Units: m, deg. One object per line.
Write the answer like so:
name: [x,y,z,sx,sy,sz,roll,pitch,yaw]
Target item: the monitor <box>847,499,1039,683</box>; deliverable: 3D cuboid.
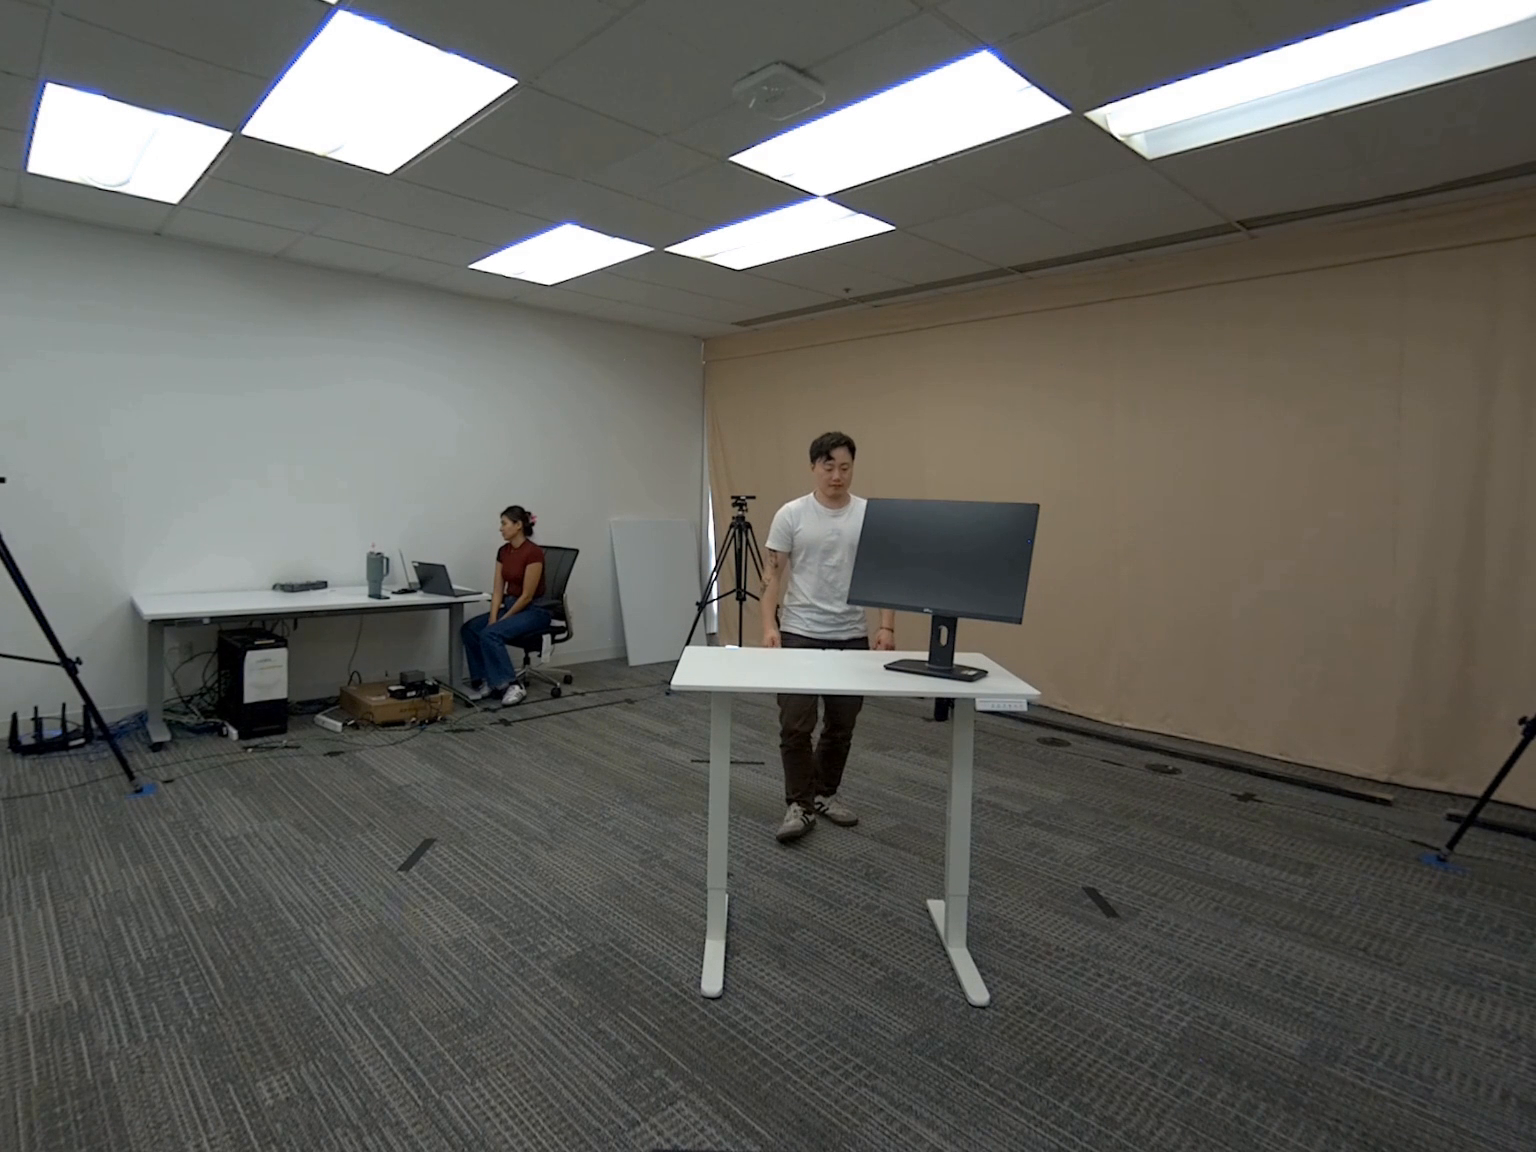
monitor: [0.519,0.038,2.526,0.551,0.523,0.183,4,-1,31]
